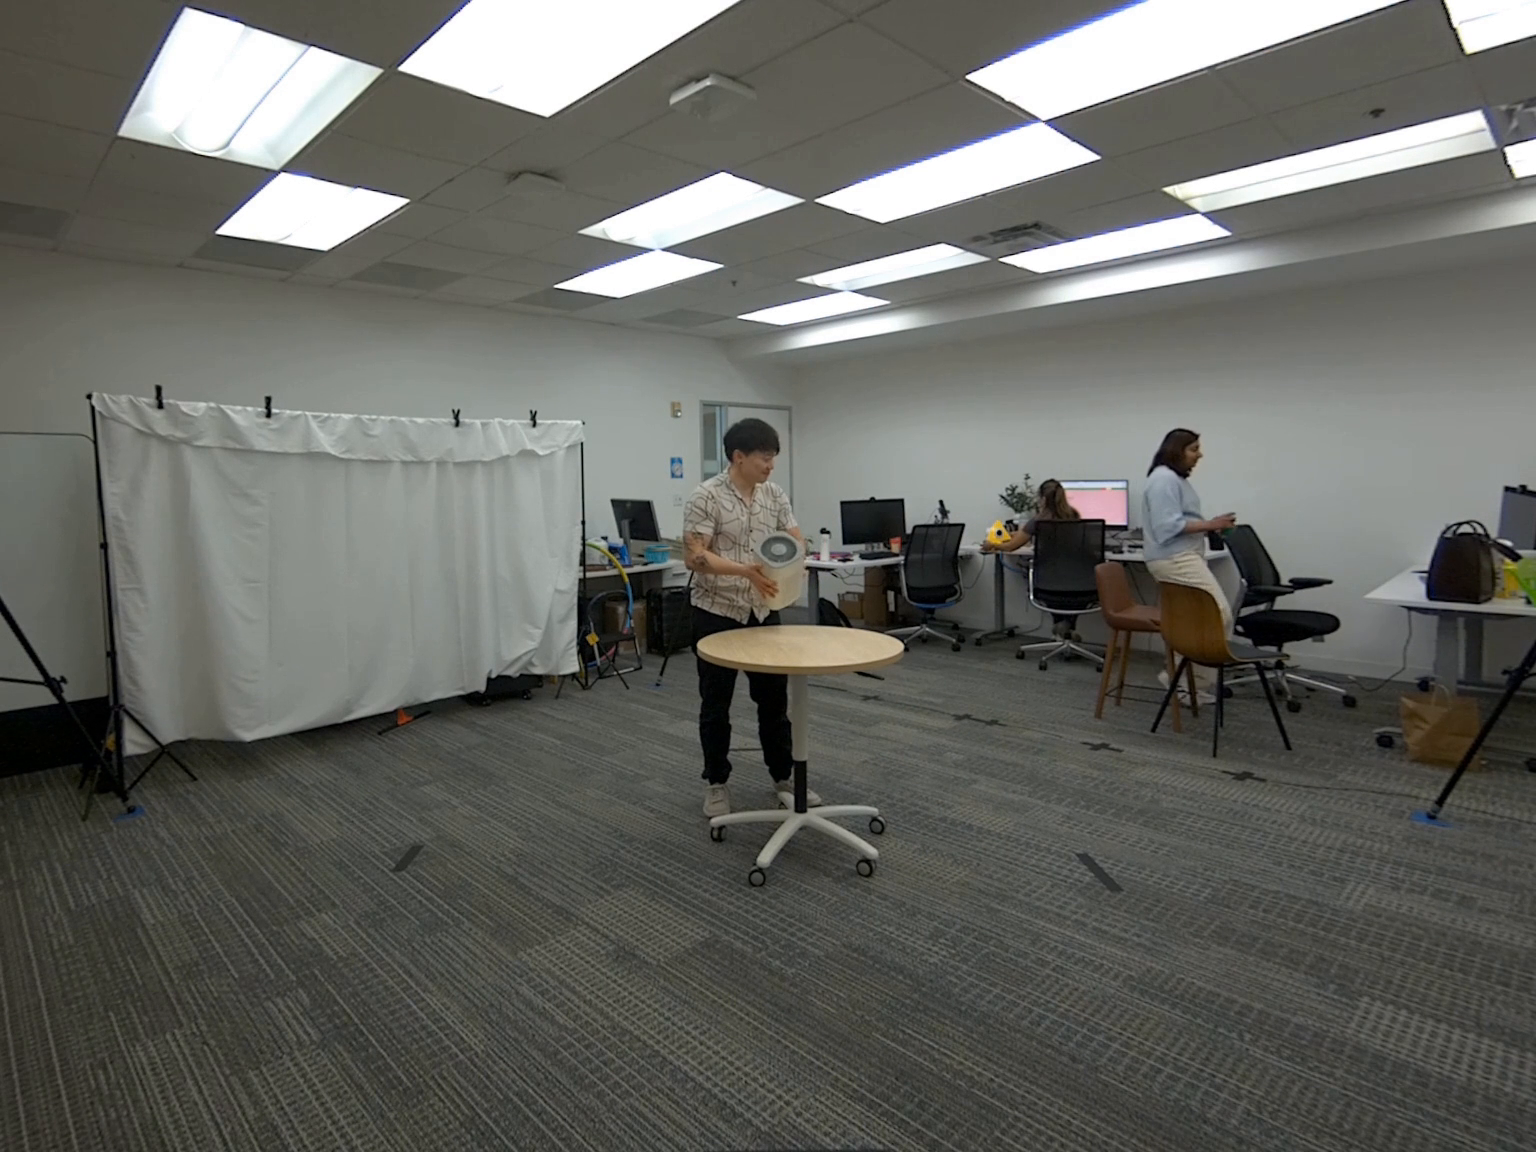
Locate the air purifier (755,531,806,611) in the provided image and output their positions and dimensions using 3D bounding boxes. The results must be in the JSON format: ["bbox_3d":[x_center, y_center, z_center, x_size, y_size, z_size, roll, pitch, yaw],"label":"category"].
[{"bbox_3d":[0.041,-0.016,3.387,0.170,0.258,0.177,-29,53,-25],"label":"air purifier"}]
